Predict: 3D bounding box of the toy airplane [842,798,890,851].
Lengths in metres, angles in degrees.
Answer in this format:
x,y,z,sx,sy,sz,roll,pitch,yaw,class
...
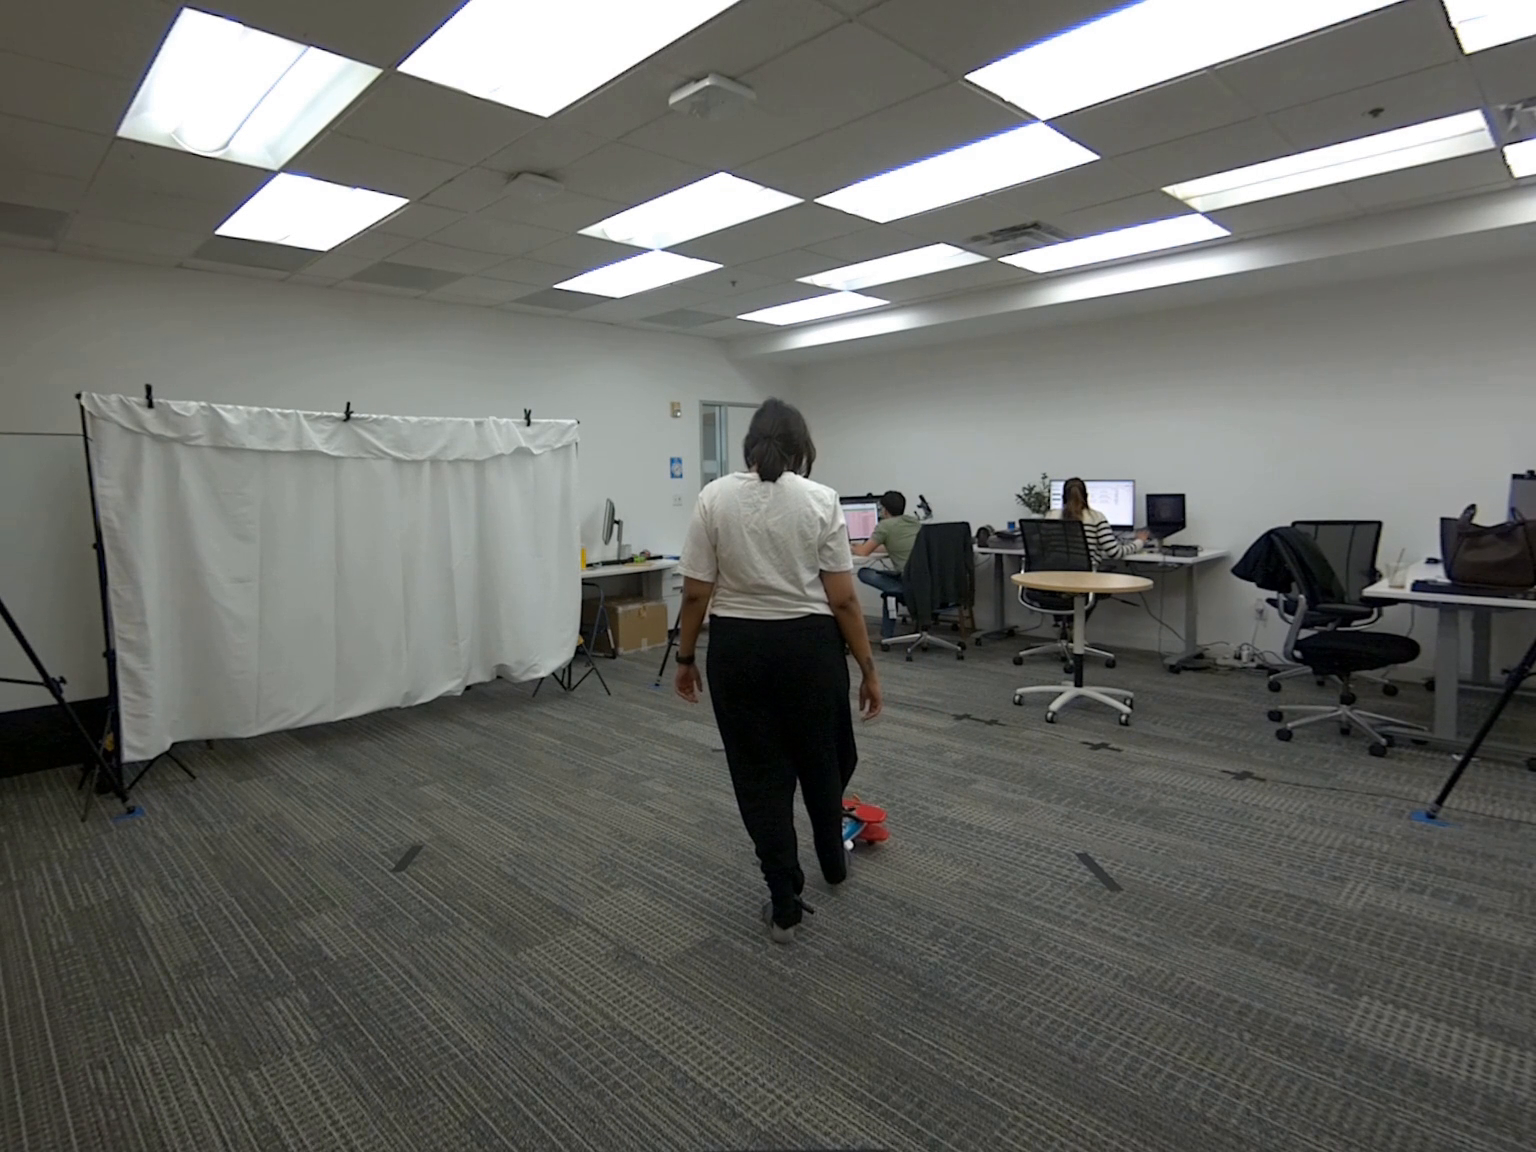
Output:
x,y,z,sx,sy,sz,roll,pitch,yaw,class
0.332,0.952,3.210,0.253,0.156,0.258,0,4,6,toy airplane
